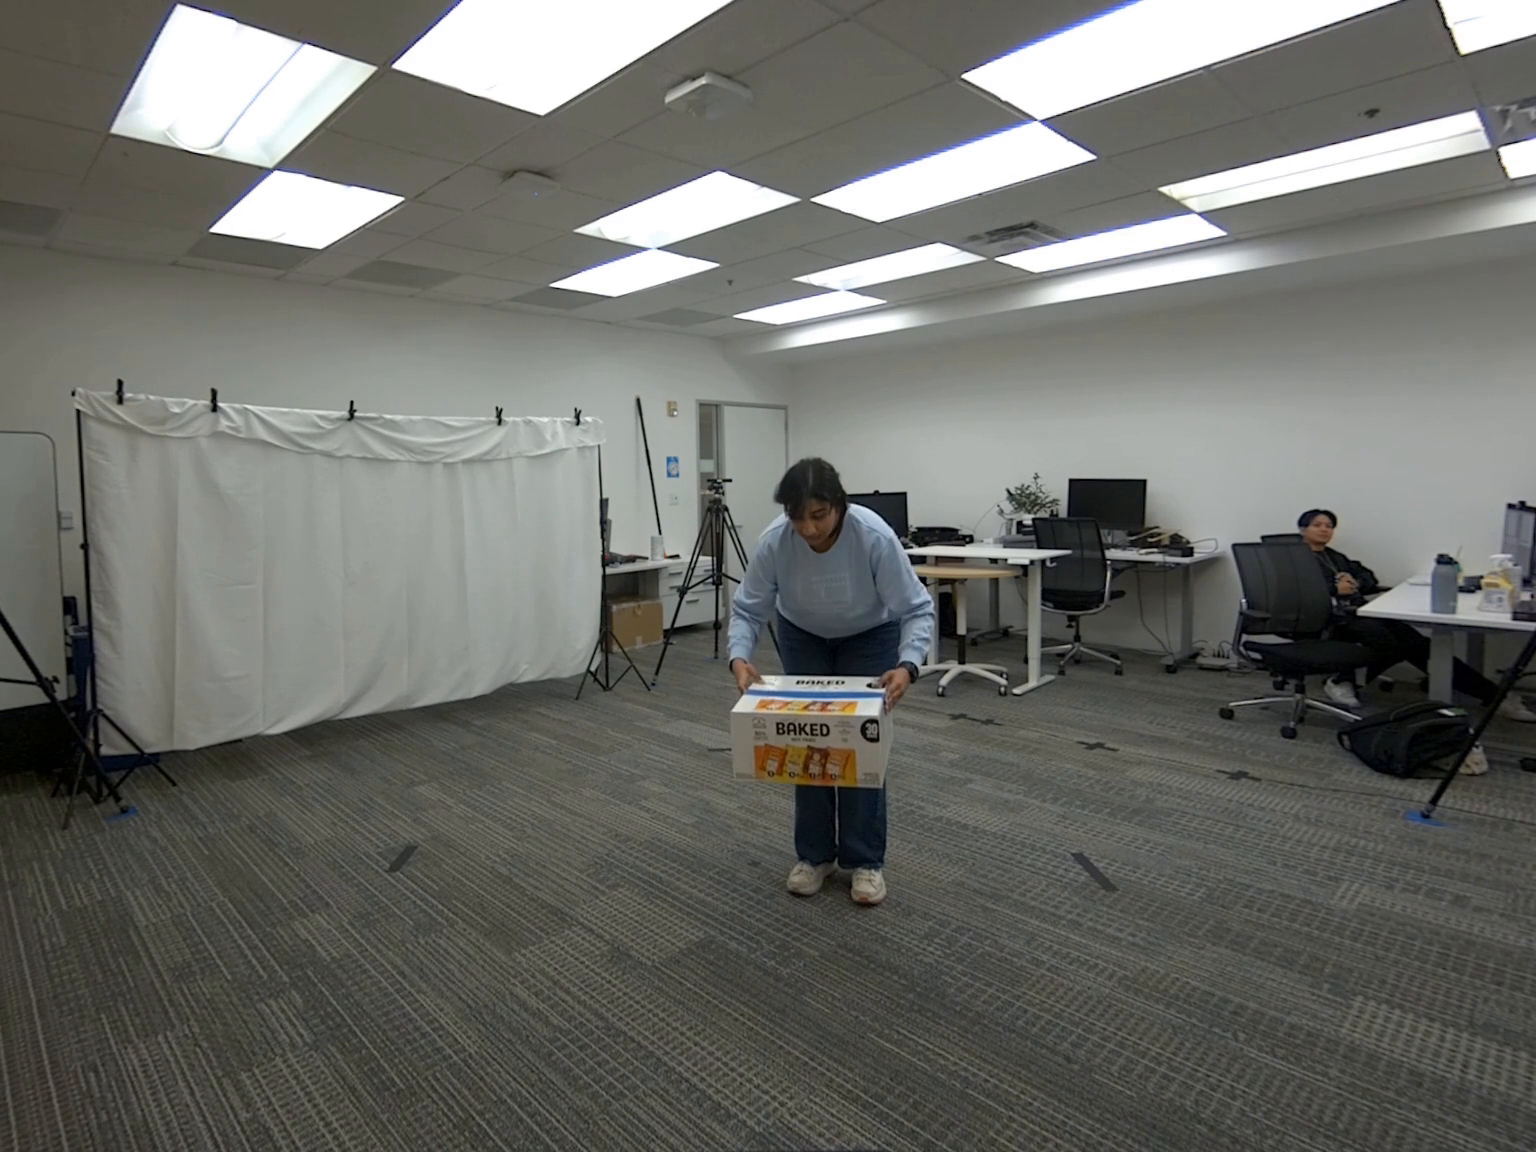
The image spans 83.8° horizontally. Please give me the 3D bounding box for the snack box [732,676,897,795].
[{"bbox_3d":[0.143,0.439,2.442,0.411,0.204,0.338,-1,10,15],"label":"snack box"}]
